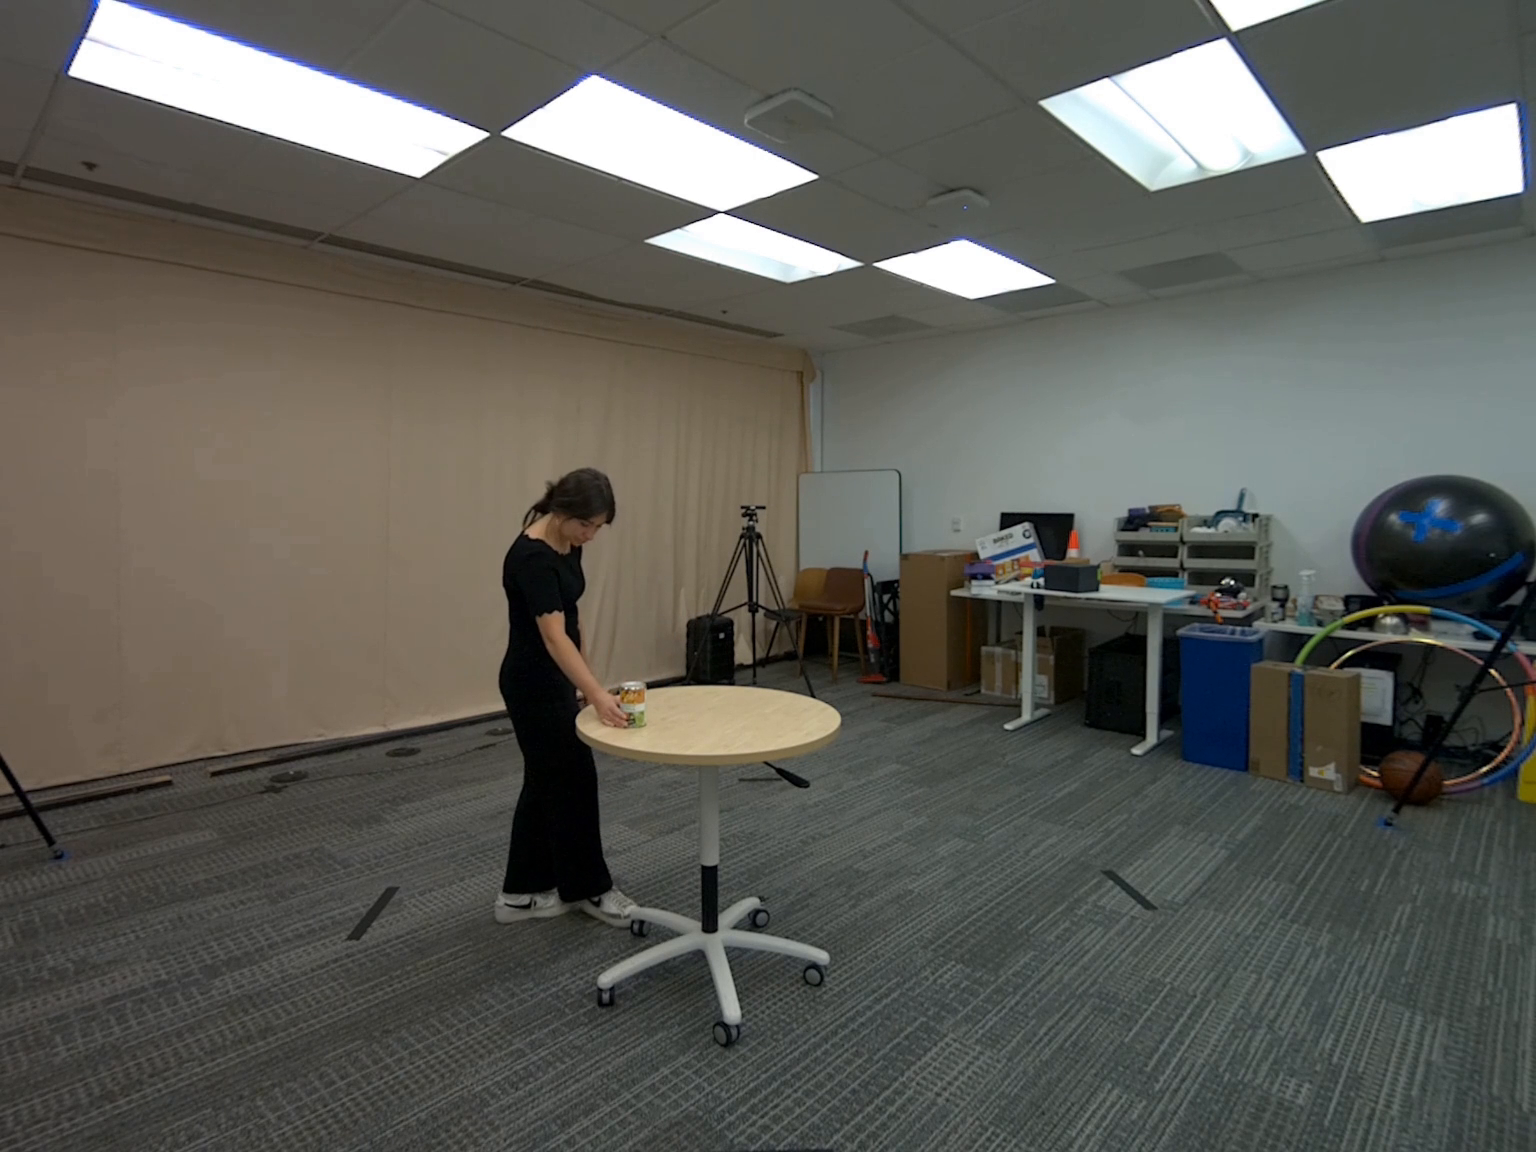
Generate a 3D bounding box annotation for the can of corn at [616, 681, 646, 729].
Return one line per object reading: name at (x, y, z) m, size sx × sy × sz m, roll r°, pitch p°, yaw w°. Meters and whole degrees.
can of corn at (-0.375, 0.362, 2.342) m, size 0.074 × 0.110 × 0.074 m, roll -1°, pitch 8°, yaw -2°
